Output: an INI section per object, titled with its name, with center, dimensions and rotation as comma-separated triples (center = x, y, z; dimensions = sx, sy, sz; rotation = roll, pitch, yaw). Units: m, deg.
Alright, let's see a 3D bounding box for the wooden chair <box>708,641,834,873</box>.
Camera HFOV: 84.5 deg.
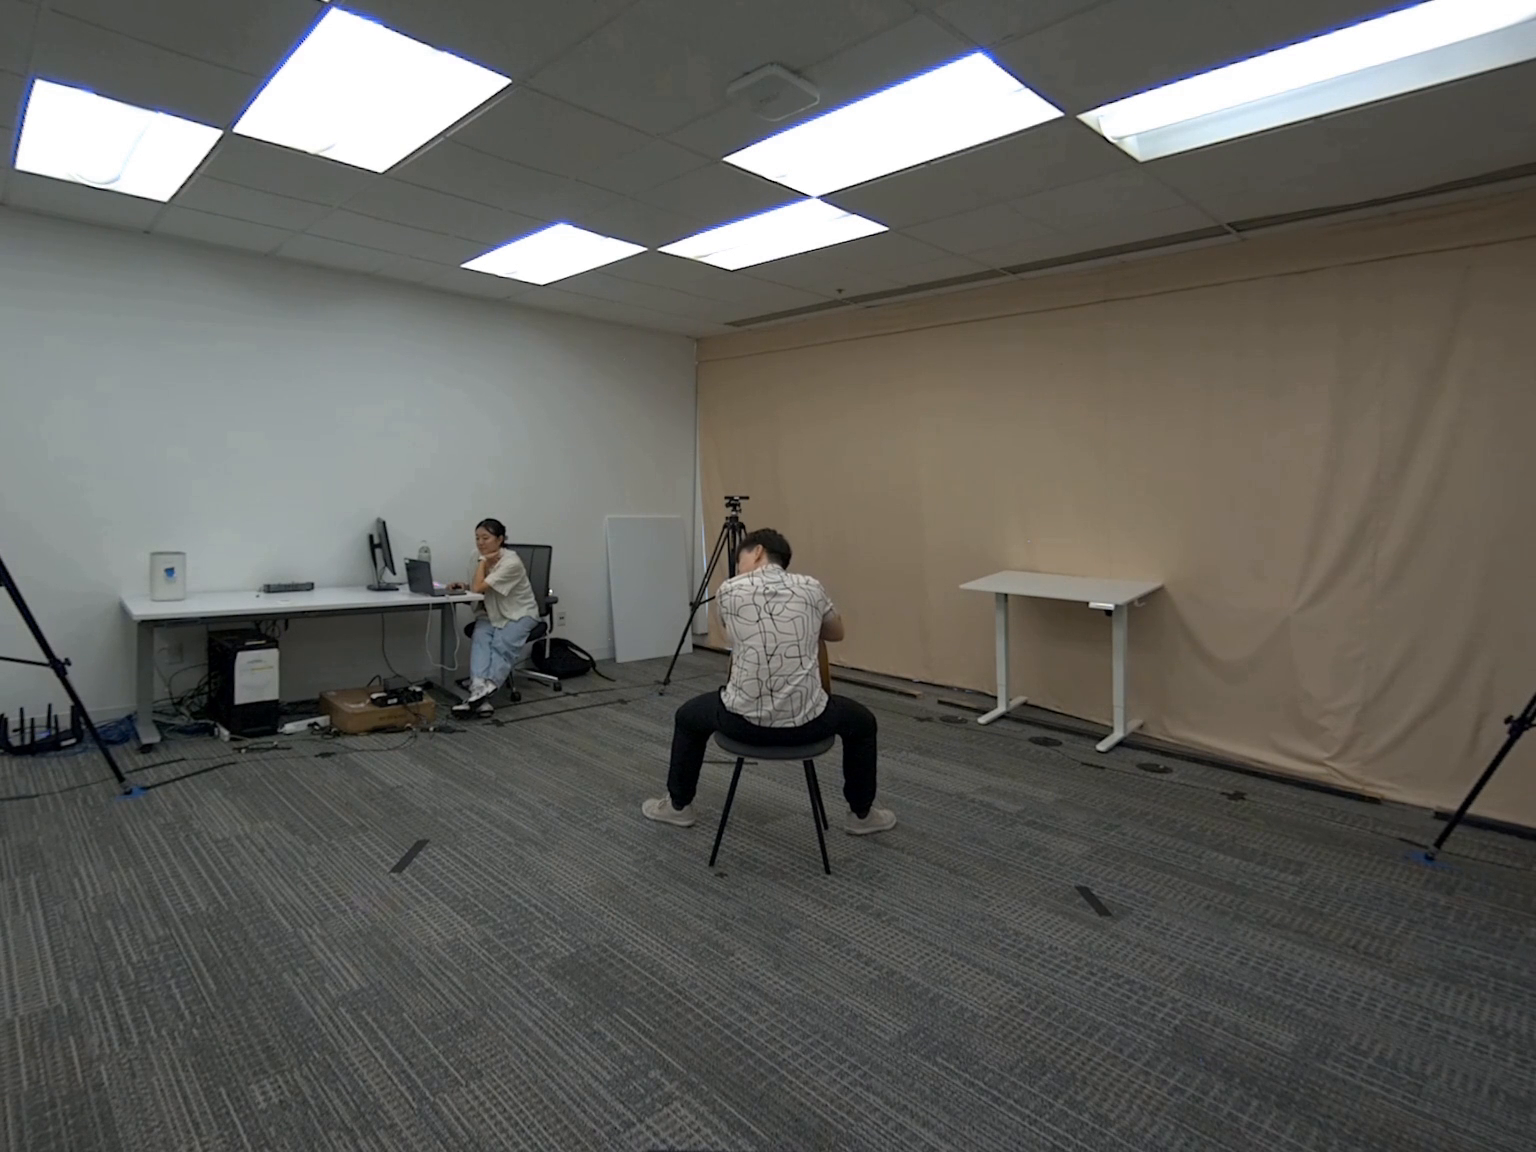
[wooden chair]
center = 0.022, 0.670, 3.332
dimensions = 0.480, 0.878, 0.520
rotation = 1, -1, 4
